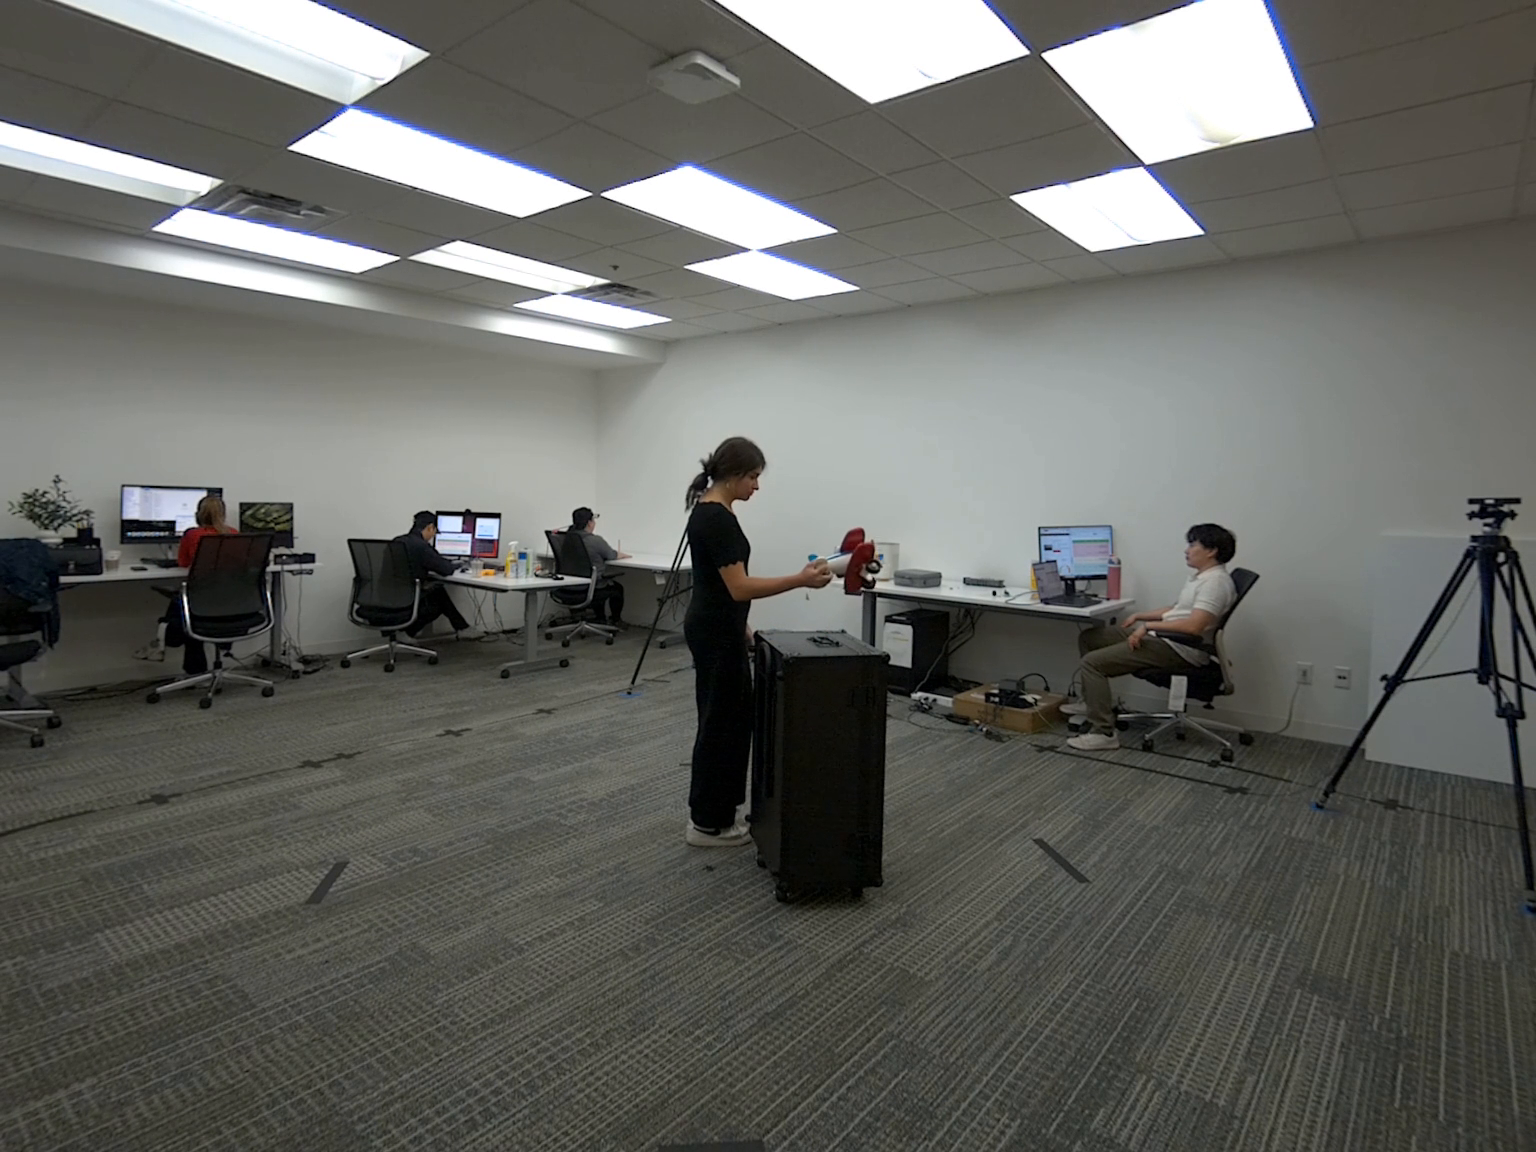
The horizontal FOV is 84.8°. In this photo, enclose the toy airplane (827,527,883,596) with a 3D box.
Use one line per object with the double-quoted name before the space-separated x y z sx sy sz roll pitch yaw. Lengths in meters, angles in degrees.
"toy airplane" 0.267 -0.062 3.109 0.251 0.161 0.251 22 -52 -27
